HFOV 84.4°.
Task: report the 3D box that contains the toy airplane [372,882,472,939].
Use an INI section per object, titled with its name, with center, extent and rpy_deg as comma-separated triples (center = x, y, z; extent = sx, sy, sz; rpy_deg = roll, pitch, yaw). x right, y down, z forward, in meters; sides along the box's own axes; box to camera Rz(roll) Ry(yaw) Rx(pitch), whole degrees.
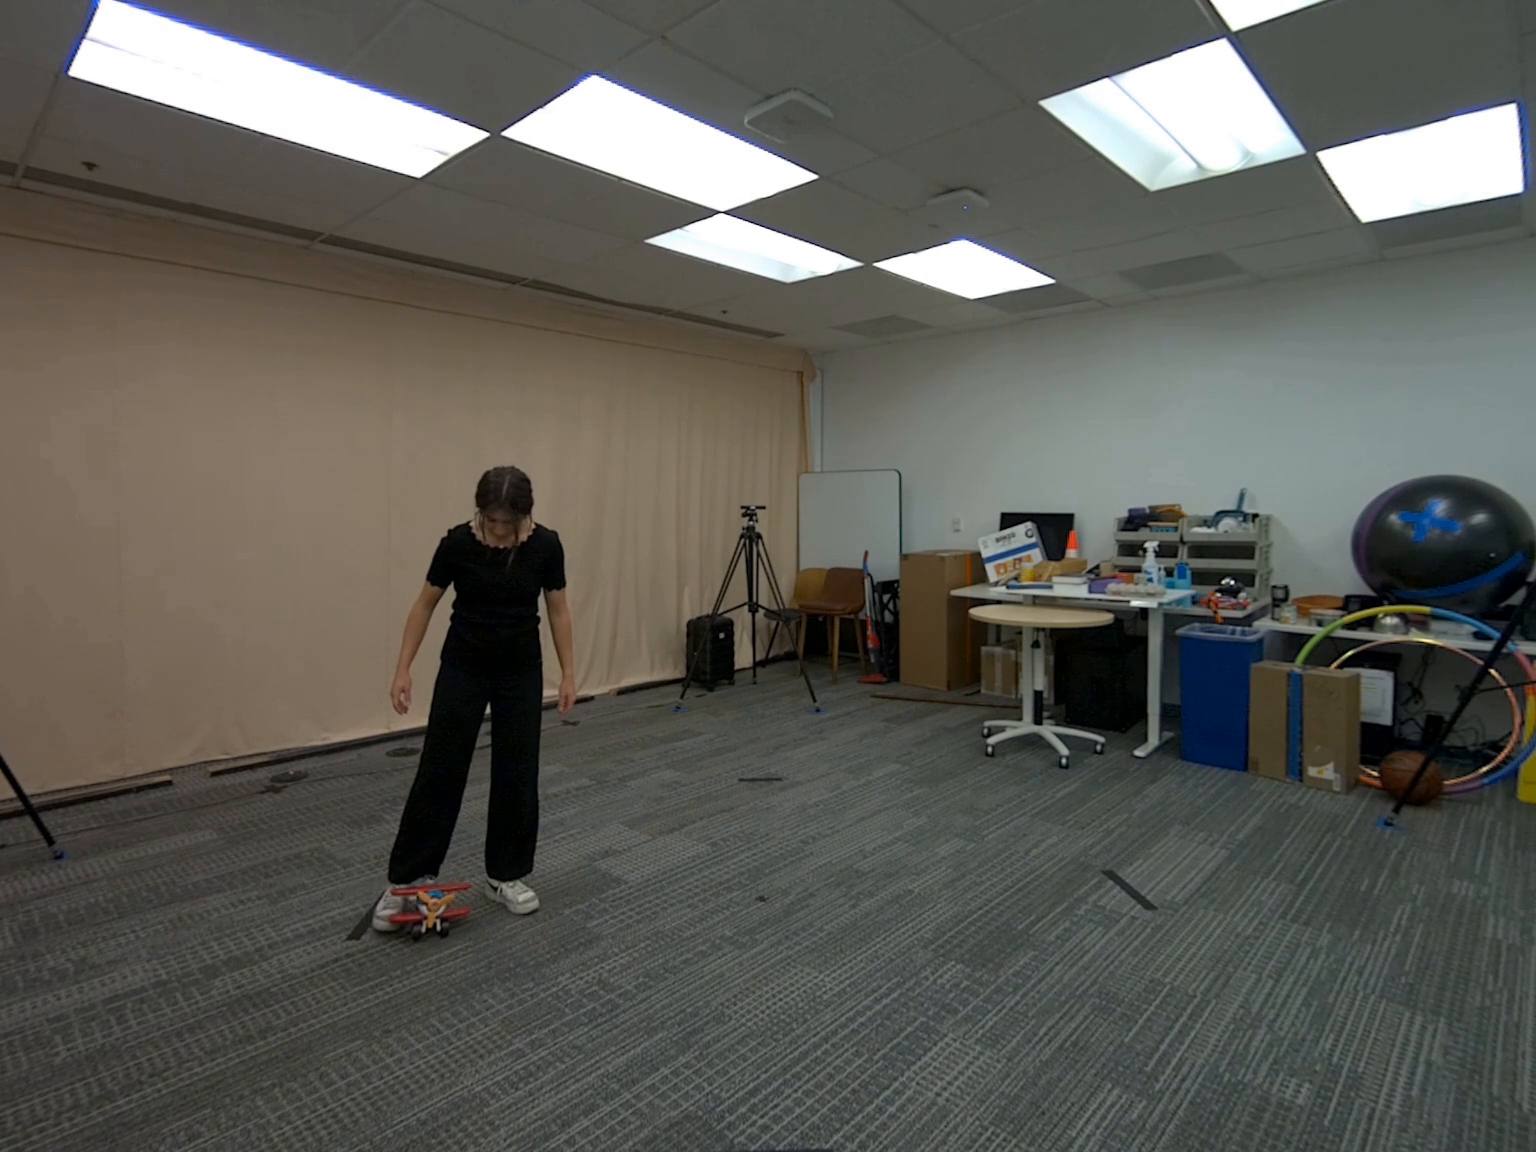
[toy airplane]
center = -1.139, 1.087, 2.792
extent = 0.268, 0.156, 0.243
rpy_deg = 6, 1, 36
